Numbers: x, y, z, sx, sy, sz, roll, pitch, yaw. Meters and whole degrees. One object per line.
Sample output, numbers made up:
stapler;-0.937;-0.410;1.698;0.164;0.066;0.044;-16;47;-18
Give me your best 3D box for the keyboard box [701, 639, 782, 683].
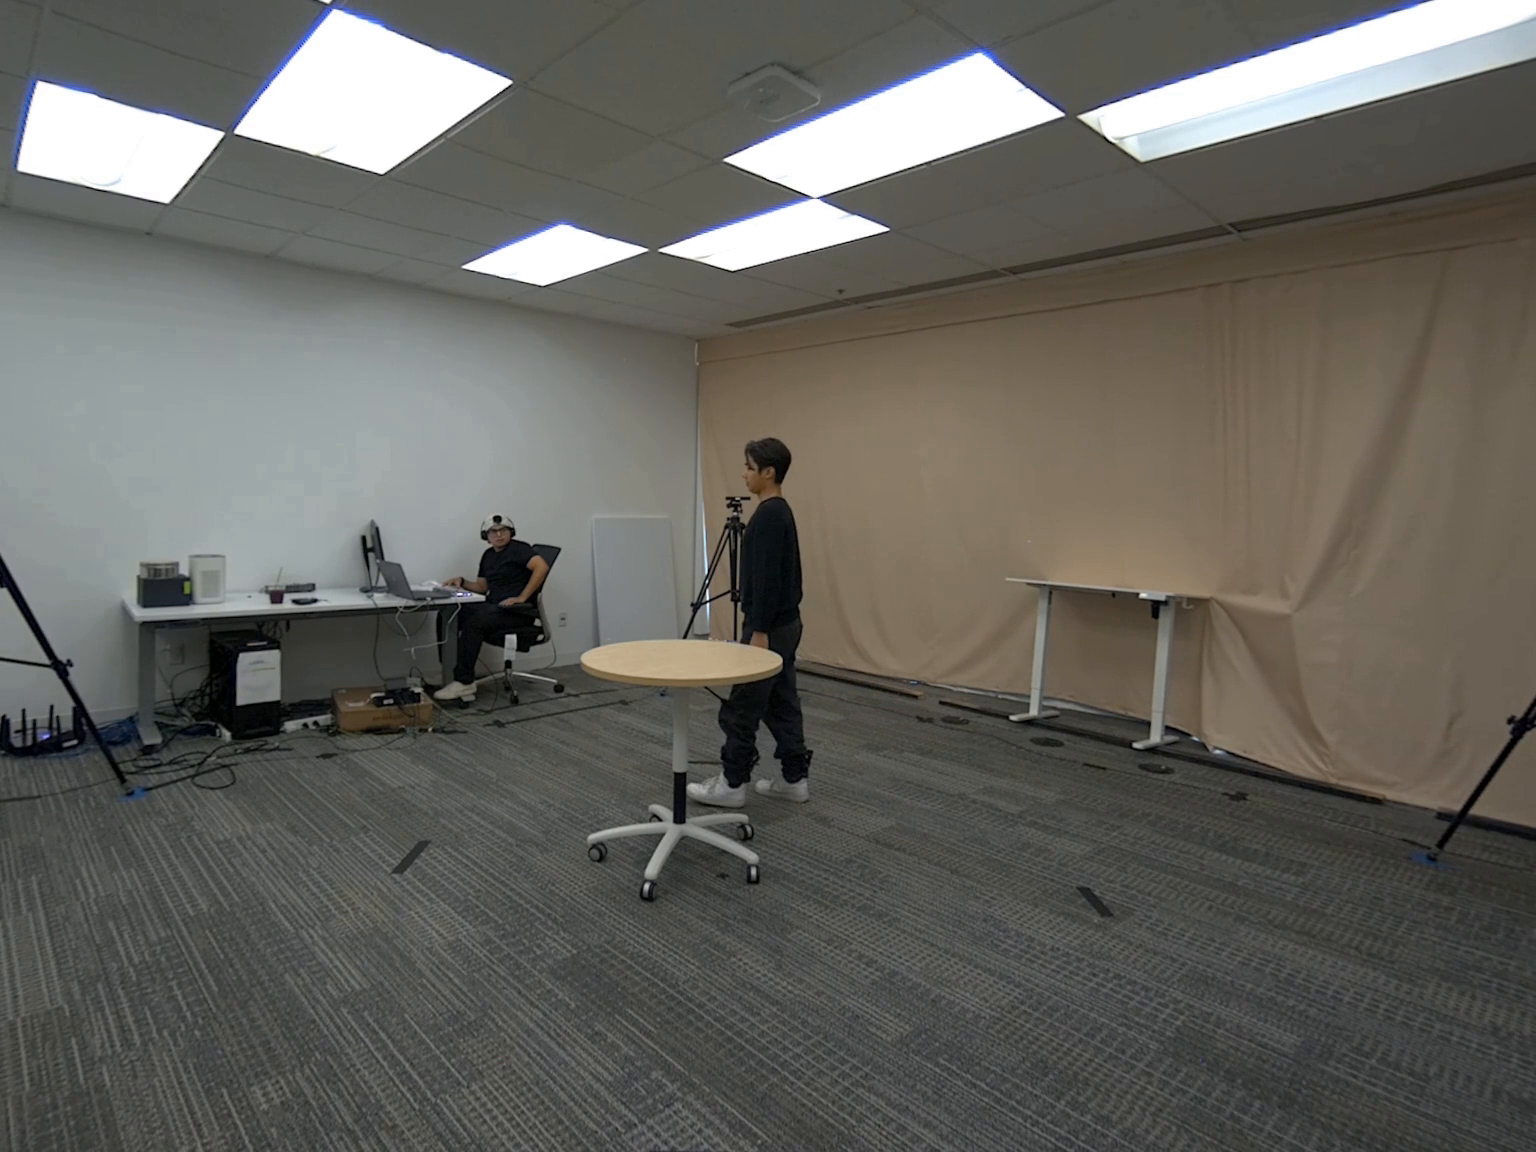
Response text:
keyboard box;-0.103;0.426;4.185;0.437;0.175;0.059;6;4;0
